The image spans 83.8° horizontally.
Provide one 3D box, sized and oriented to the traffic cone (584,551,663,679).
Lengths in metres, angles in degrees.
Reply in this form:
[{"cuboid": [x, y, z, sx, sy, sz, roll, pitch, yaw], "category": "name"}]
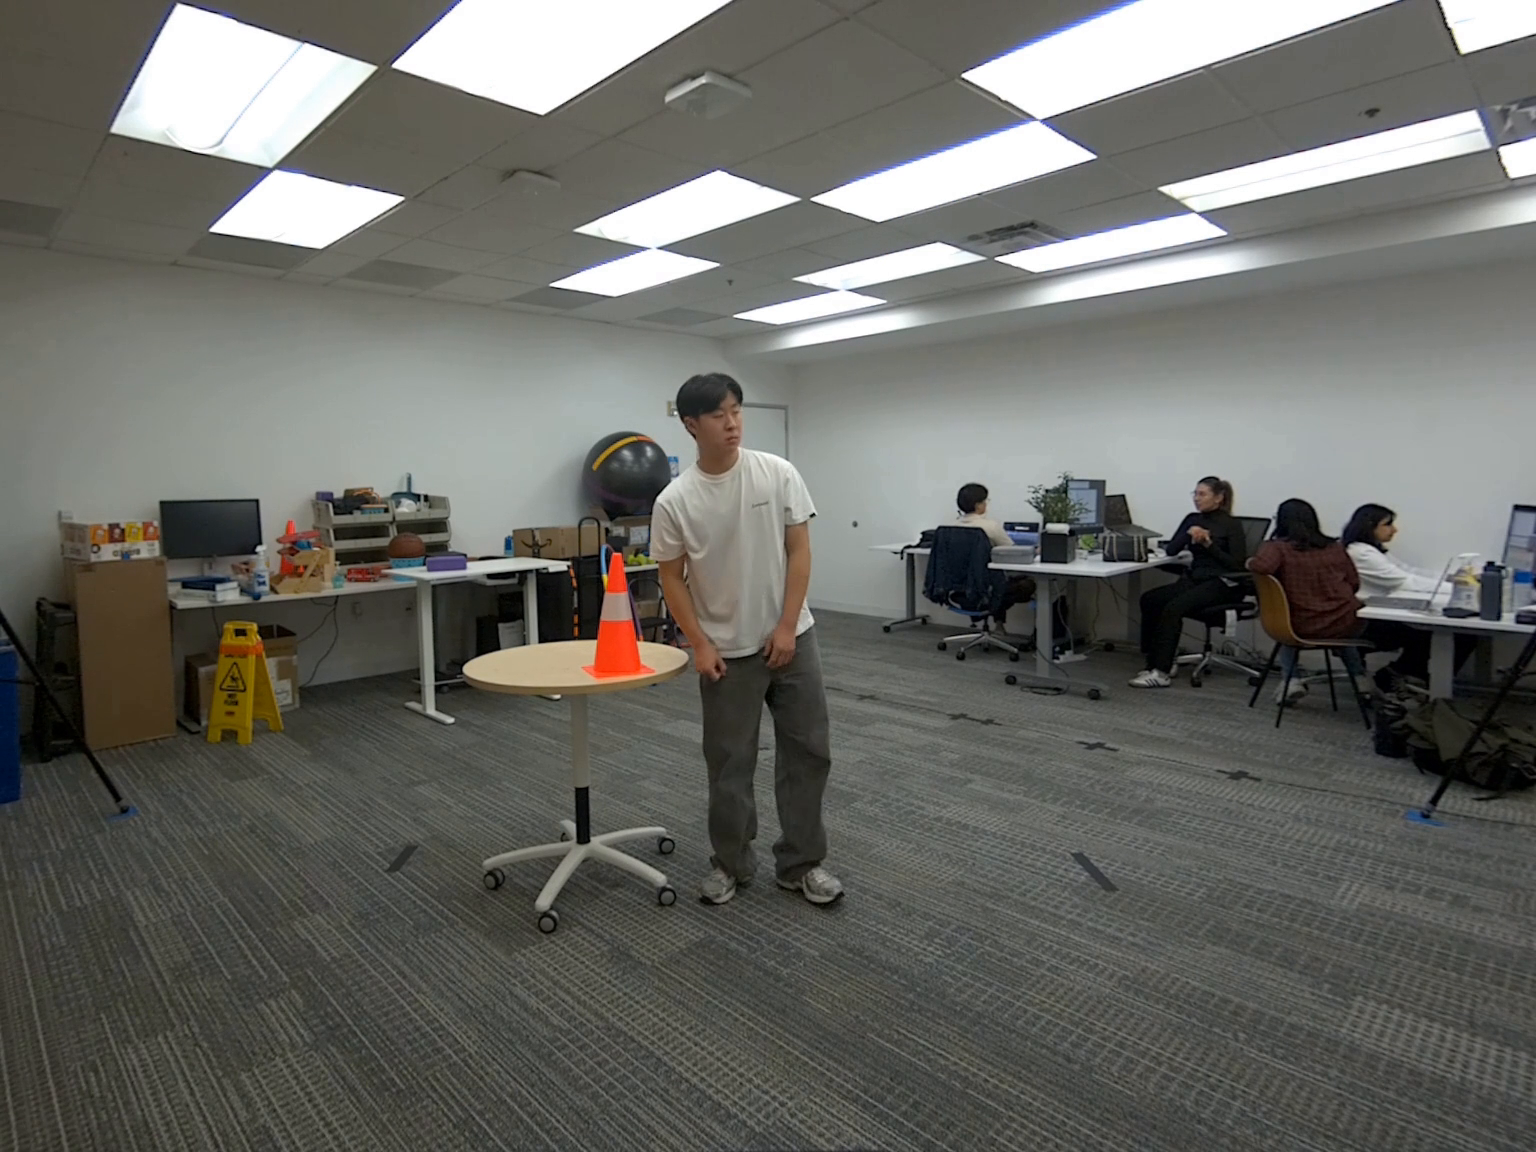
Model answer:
[{"cuboid": [-0.476, 0.116, 2.793, 0.199, 0.383, 0.209, -2, 1, -22], "category": "traffic cone"}]
